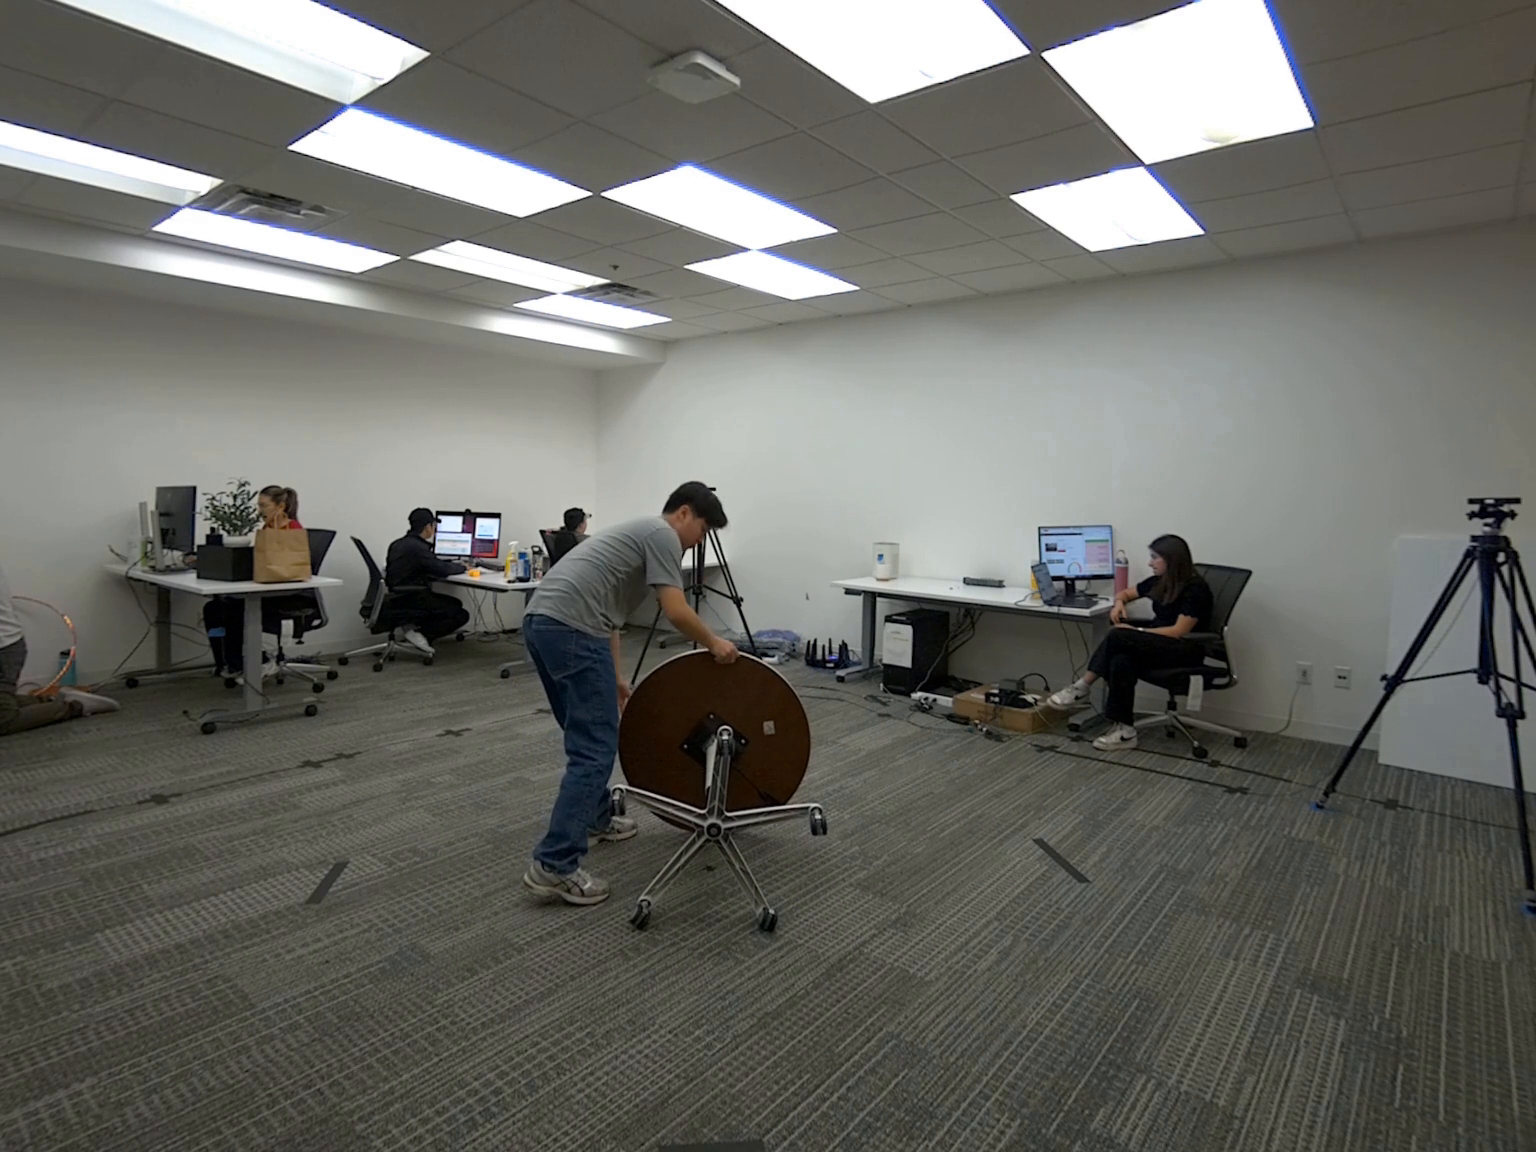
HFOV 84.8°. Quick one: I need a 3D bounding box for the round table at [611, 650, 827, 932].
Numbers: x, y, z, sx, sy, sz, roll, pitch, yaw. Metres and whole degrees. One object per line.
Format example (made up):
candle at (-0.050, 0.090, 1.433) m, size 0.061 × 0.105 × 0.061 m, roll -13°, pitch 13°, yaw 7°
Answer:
round table at (-0.195, 0.750, 2.994) m, size 0.763 × 0.757 × 0.802 m, roll 1°, pitch 10°, yaw -2°
